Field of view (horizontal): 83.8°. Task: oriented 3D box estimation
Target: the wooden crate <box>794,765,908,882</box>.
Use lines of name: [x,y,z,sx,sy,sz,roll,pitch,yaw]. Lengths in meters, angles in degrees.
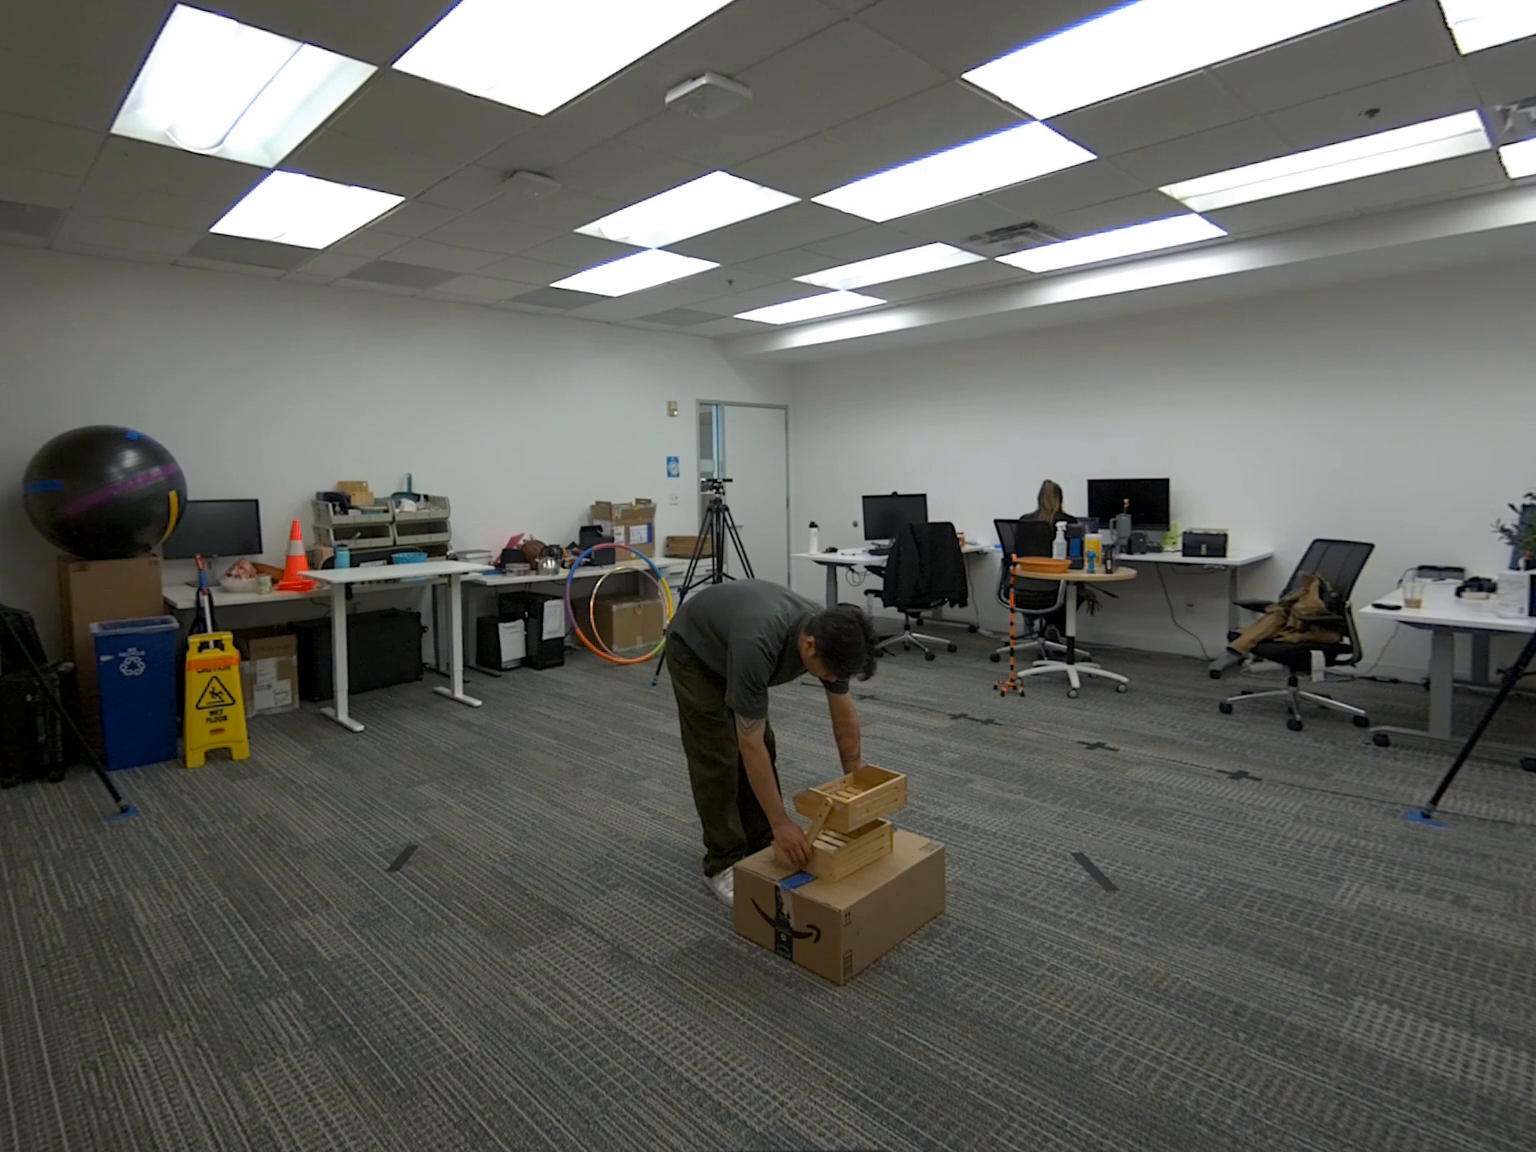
wooden crate: [0.229,0.748,2.661,0.311,0.272,0.316,5,8,44]
